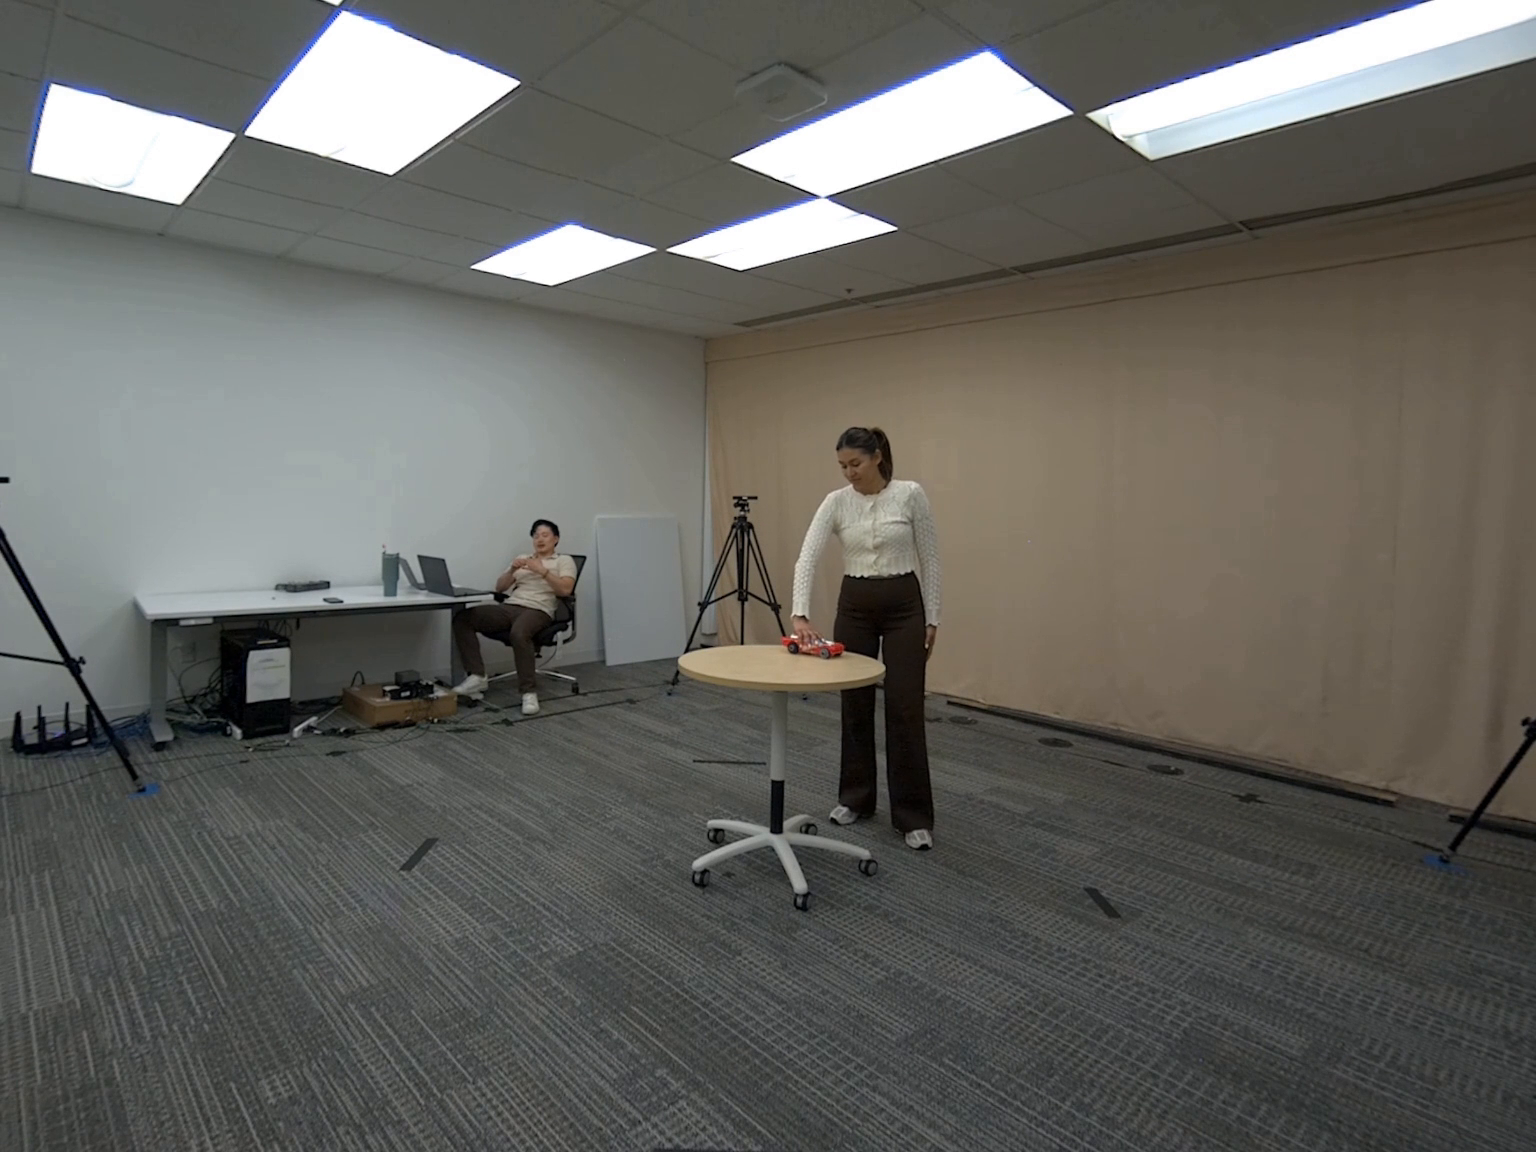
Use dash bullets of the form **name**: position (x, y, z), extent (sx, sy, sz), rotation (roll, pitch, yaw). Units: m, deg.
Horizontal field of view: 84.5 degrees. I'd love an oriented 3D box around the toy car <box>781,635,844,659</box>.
- **toy car**: position (0.162, 0.279, 3.316), extent (0.262, 0.083, 0.127), rotation (17, 13, 35)
